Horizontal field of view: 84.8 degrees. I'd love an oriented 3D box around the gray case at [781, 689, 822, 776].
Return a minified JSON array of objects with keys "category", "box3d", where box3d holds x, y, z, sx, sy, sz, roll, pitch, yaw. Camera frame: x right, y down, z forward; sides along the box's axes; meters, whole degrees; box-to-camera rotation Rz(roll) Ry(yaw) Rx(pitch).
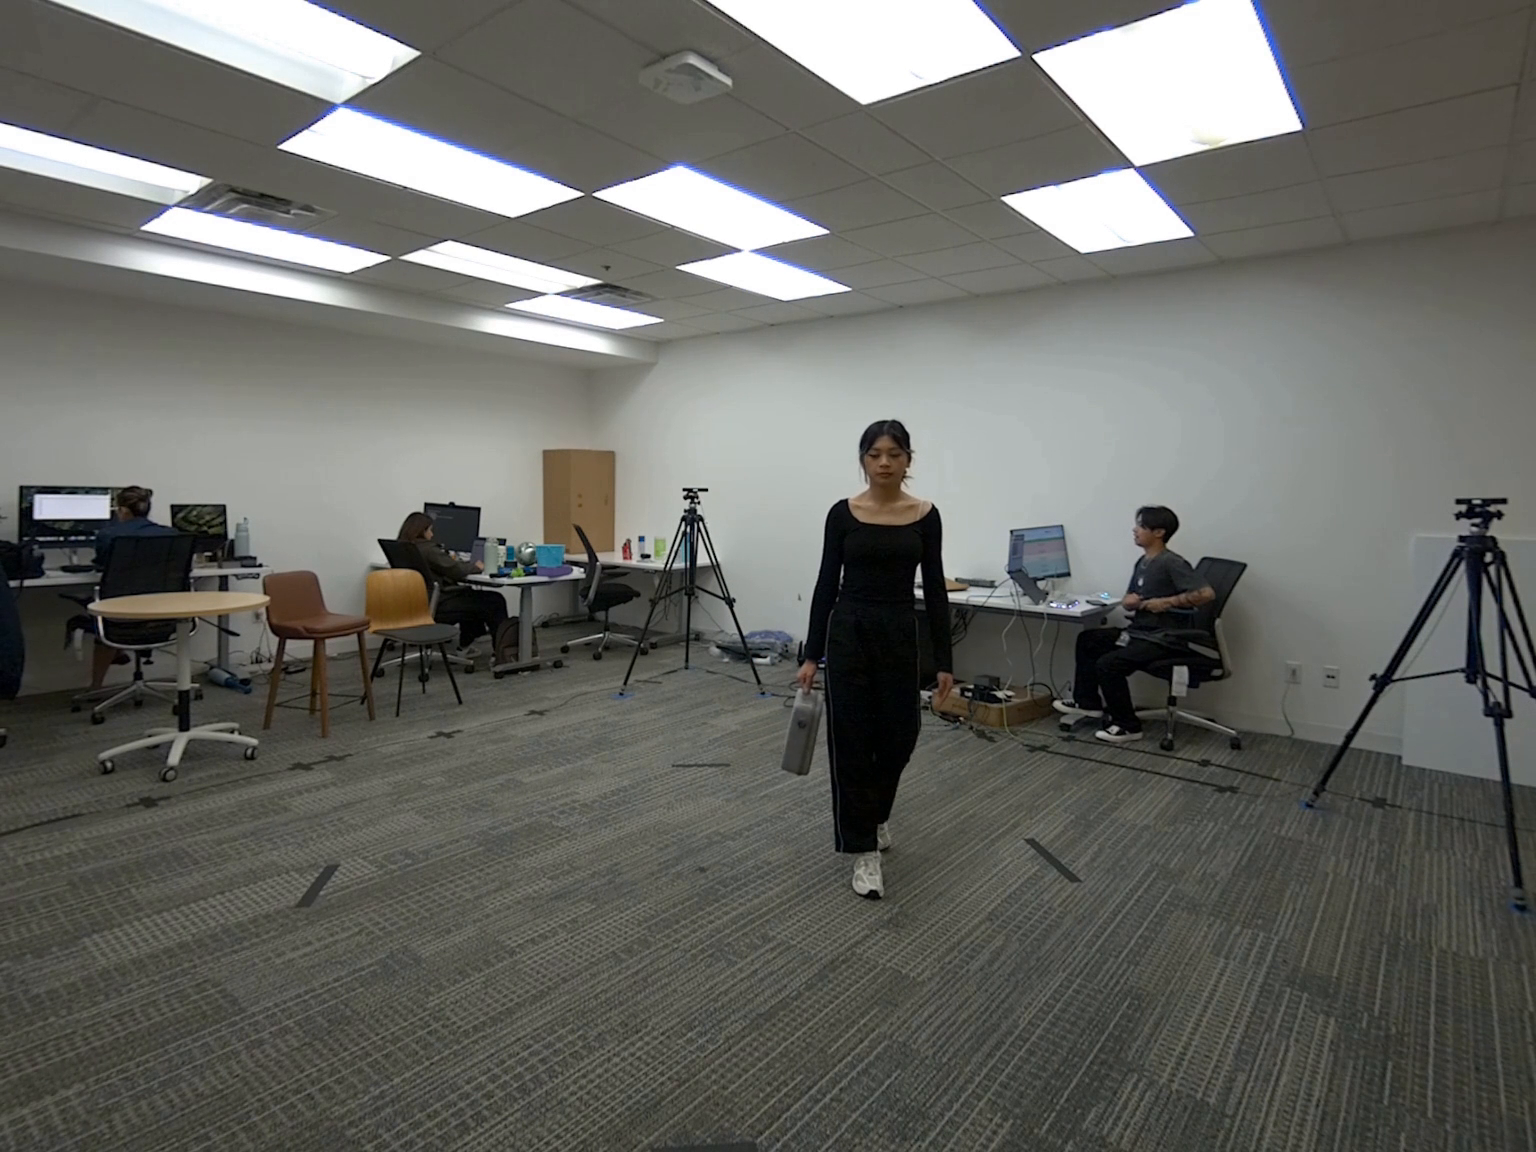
[{"category":"gray case","box3d":[0.119,0.548,3.064,0.105,0.259,0.257,8,6,2]}]
